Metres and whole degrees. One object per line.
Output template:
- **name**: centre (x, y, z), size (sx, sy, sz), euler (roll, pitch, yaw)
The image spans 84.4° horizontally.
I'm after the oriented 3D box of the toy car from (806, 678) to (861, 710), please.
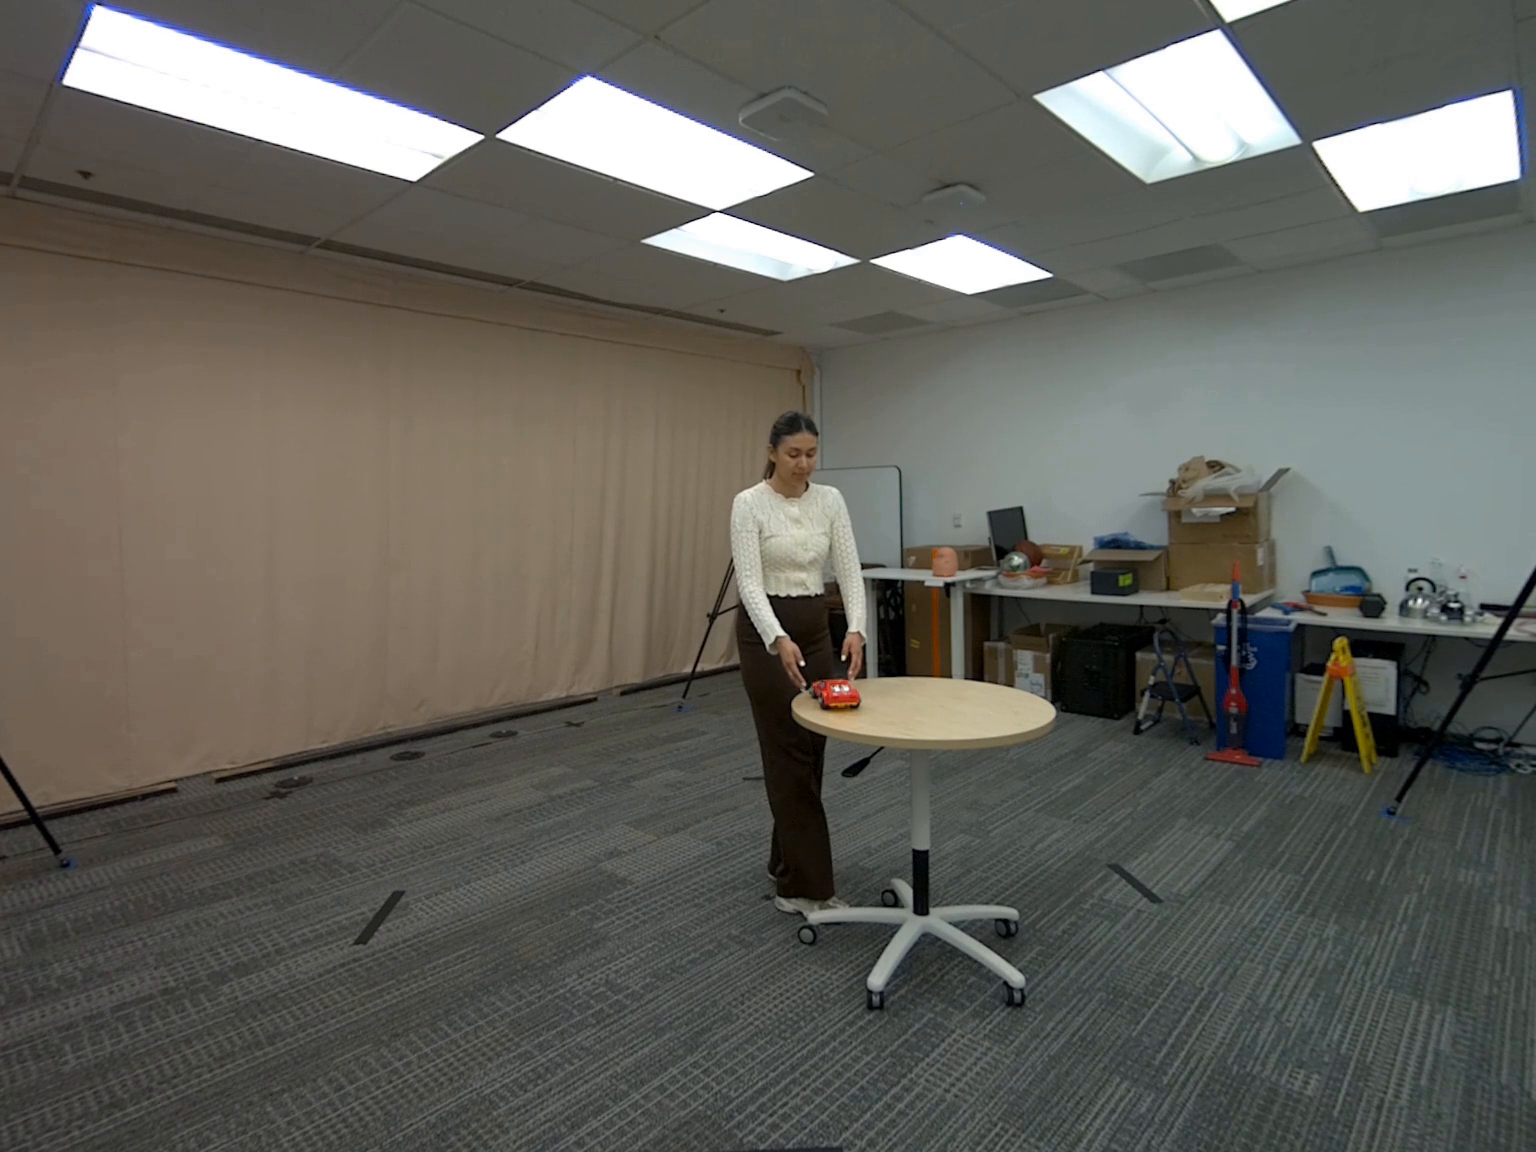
- **toy car**: centre (0.209, 0.357, 2.552), size (0.130, 0.083, 0.254), euler (-2, -6, -6)
